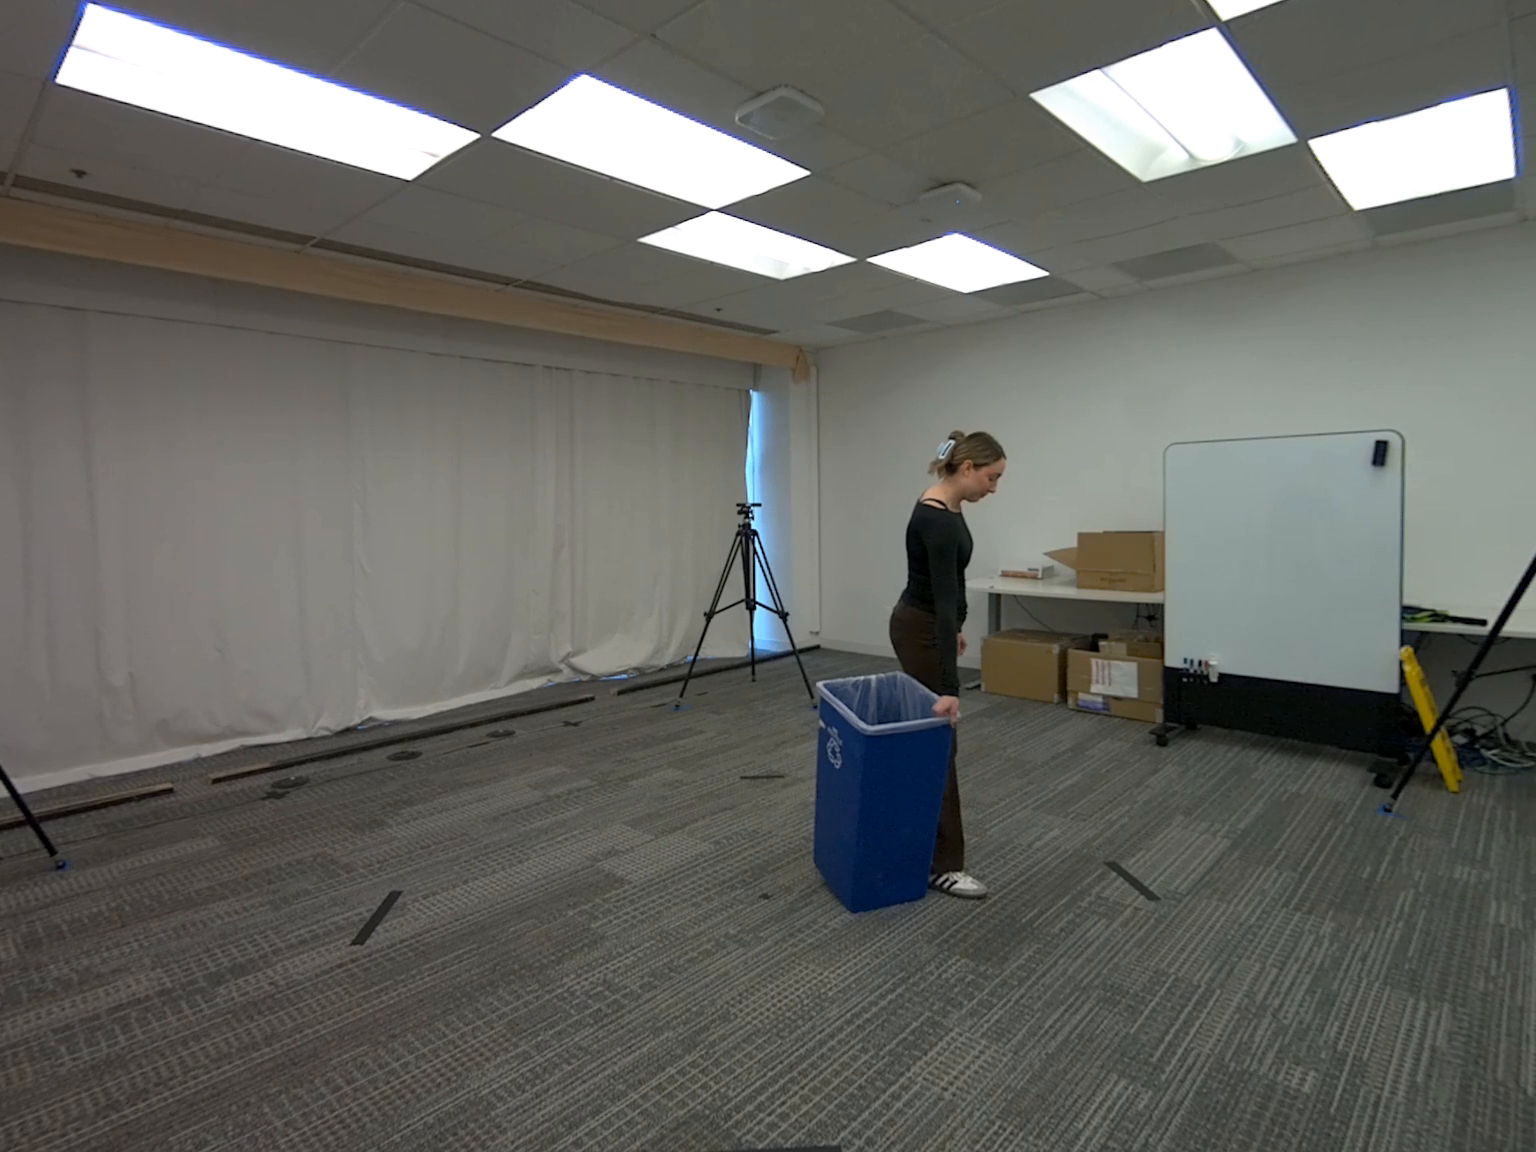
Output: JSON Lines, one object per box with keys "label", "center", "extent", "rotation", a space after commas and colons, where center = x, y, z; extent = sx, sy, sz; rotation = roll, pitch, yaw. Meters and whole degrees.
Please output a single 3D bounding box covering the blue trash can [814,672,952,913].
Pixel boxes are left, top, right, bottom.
{"label": "blue trash can", "center": [0.388, 0.751, 2.929], "extent": [0.371, 0.707, 0.385], "rotation": [-3, 17, -21]}
